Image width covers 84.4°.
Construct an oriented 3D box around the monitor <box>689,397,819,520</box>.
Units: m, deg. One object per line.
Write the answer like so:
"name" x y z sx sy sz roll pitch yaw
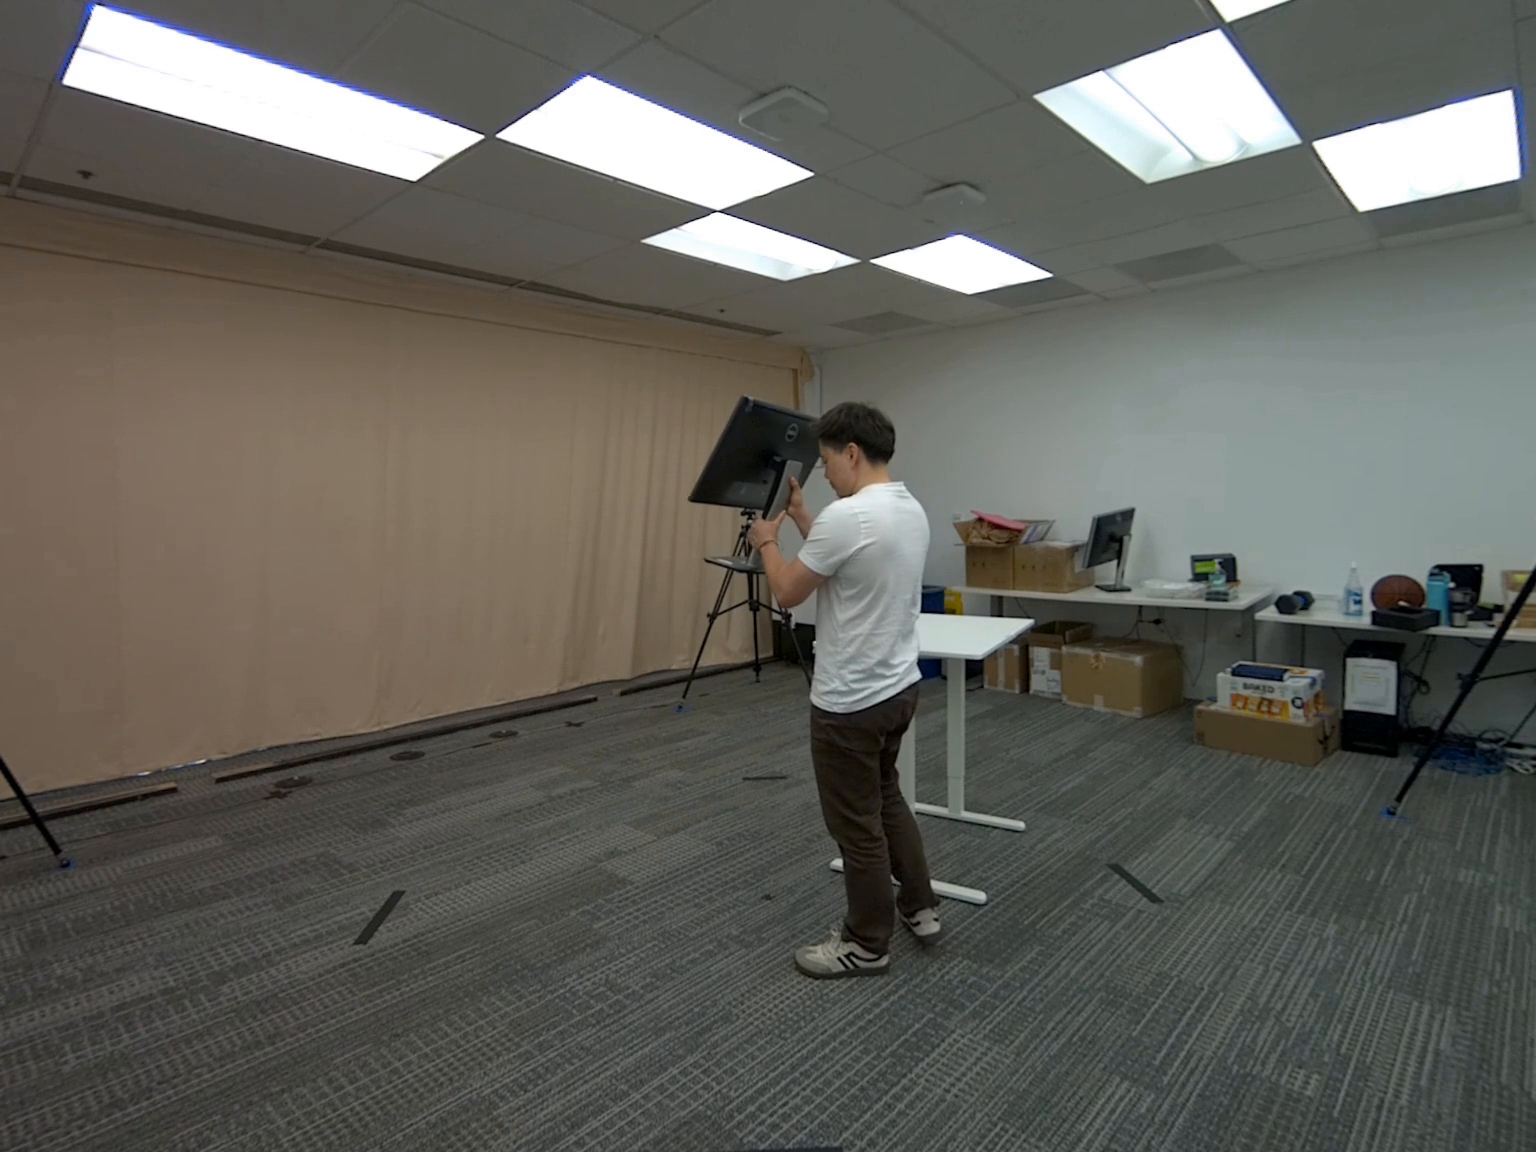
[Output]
"monitor" 0.003 -0.273 2.644 0.193 0.521 0.523 24 13 31
